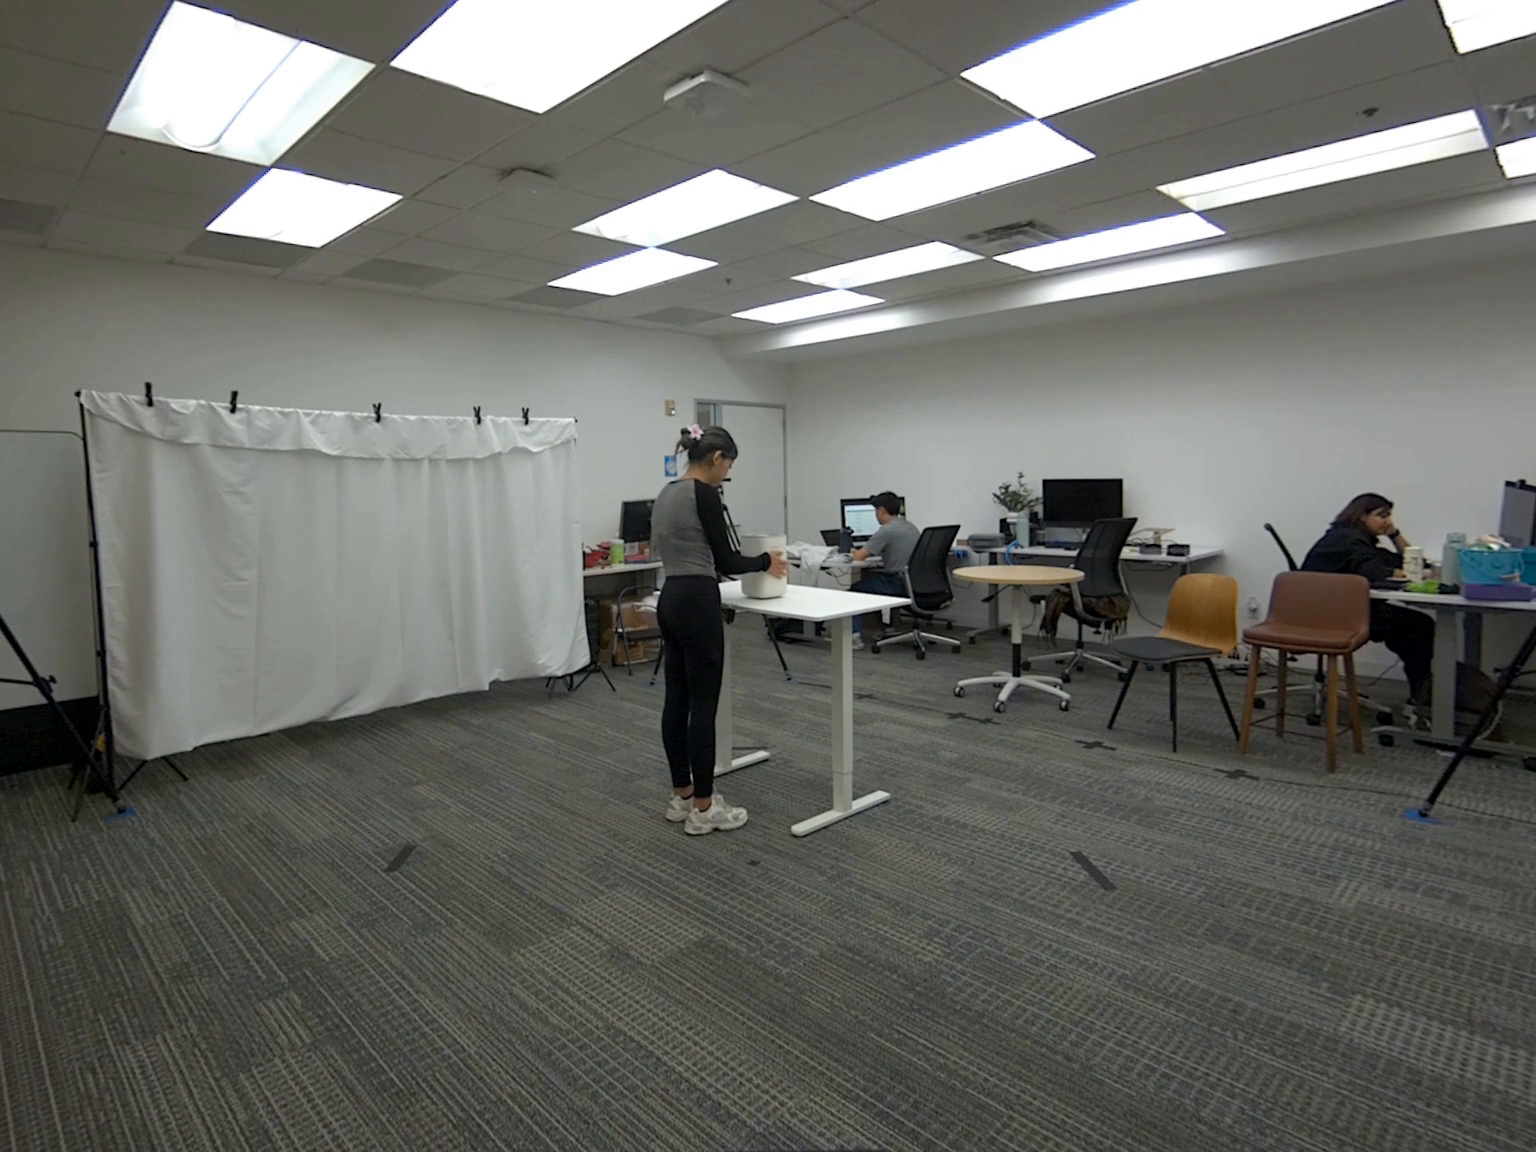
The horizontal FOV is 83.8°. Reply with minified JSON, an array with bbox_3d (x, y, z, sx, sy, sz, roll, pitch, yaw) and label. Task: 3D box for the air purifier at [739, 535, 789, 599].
[{"bbox_3d":[-0.021,-0.045,3.692,0.167,0.264,0.177,-6,8,-42],"label":"air purifier"}]
